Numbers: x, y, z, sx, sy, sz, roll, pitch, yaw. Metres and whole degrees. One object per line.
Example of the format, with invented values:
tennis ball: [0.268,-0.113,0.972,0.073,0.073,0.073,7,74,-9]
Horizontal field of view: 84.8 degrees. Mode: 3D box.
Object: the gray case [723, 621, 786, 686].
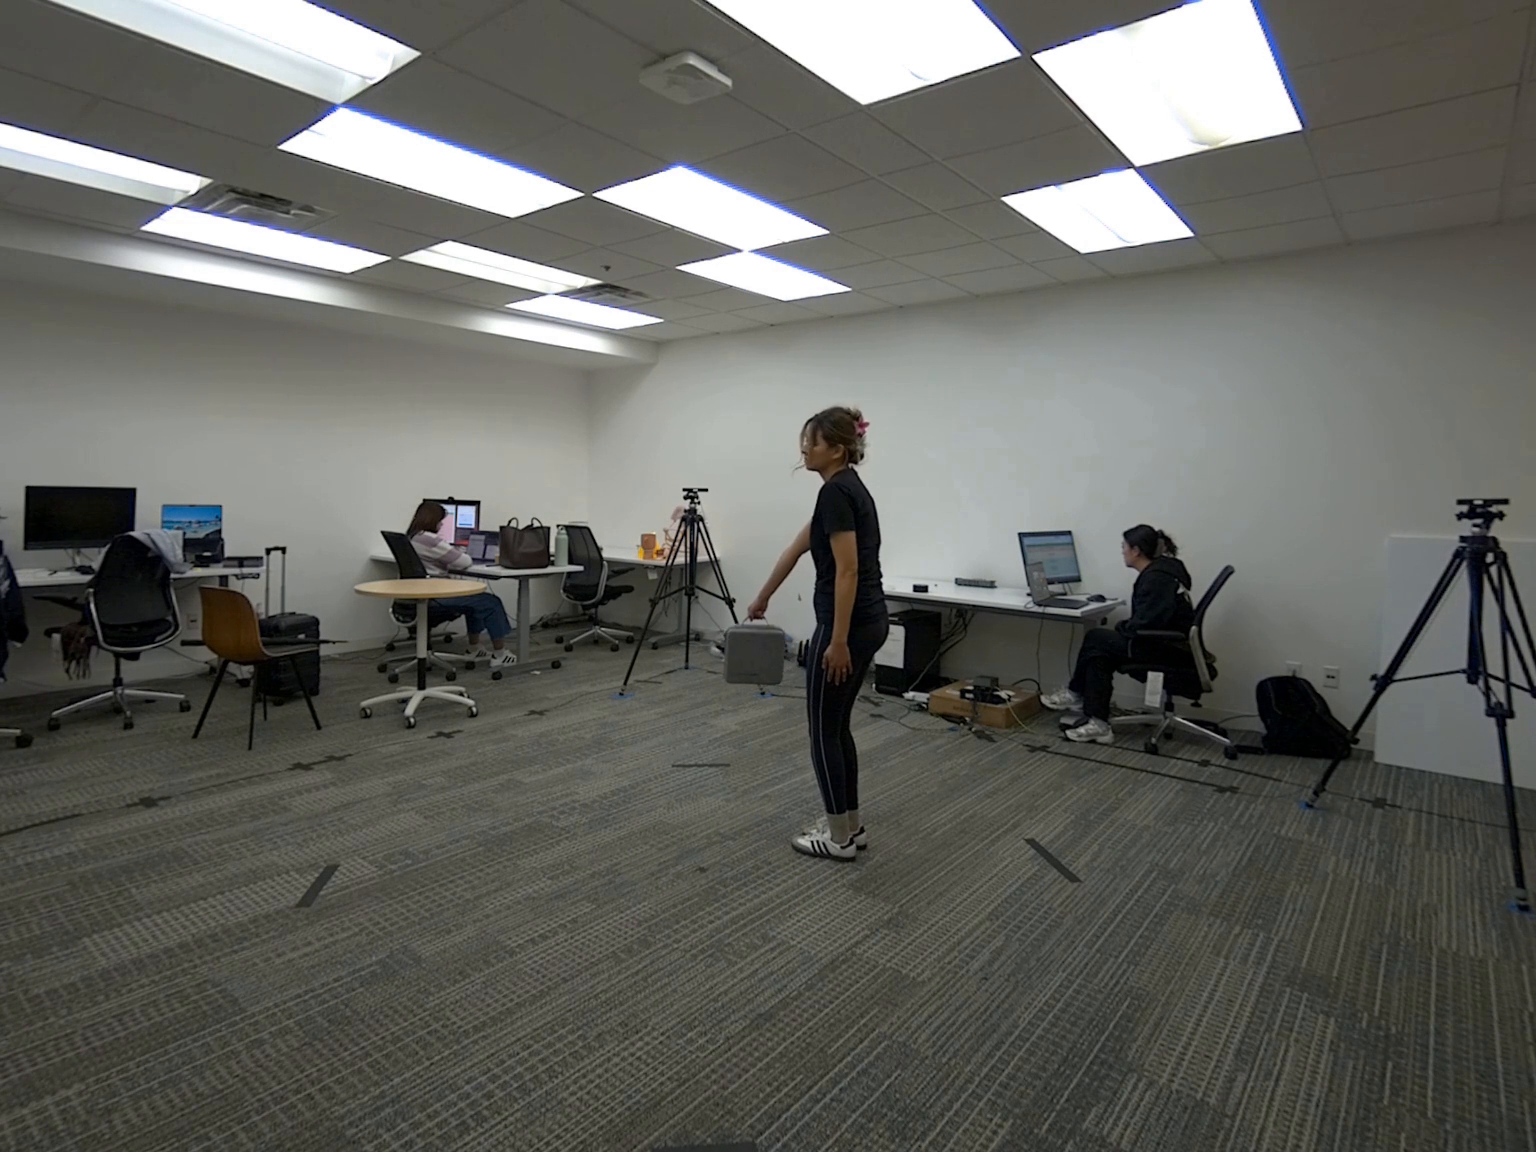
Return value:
gray case: [-0.074,0.334,3.676,0.257,0.258,0.105,3,11,-1]
